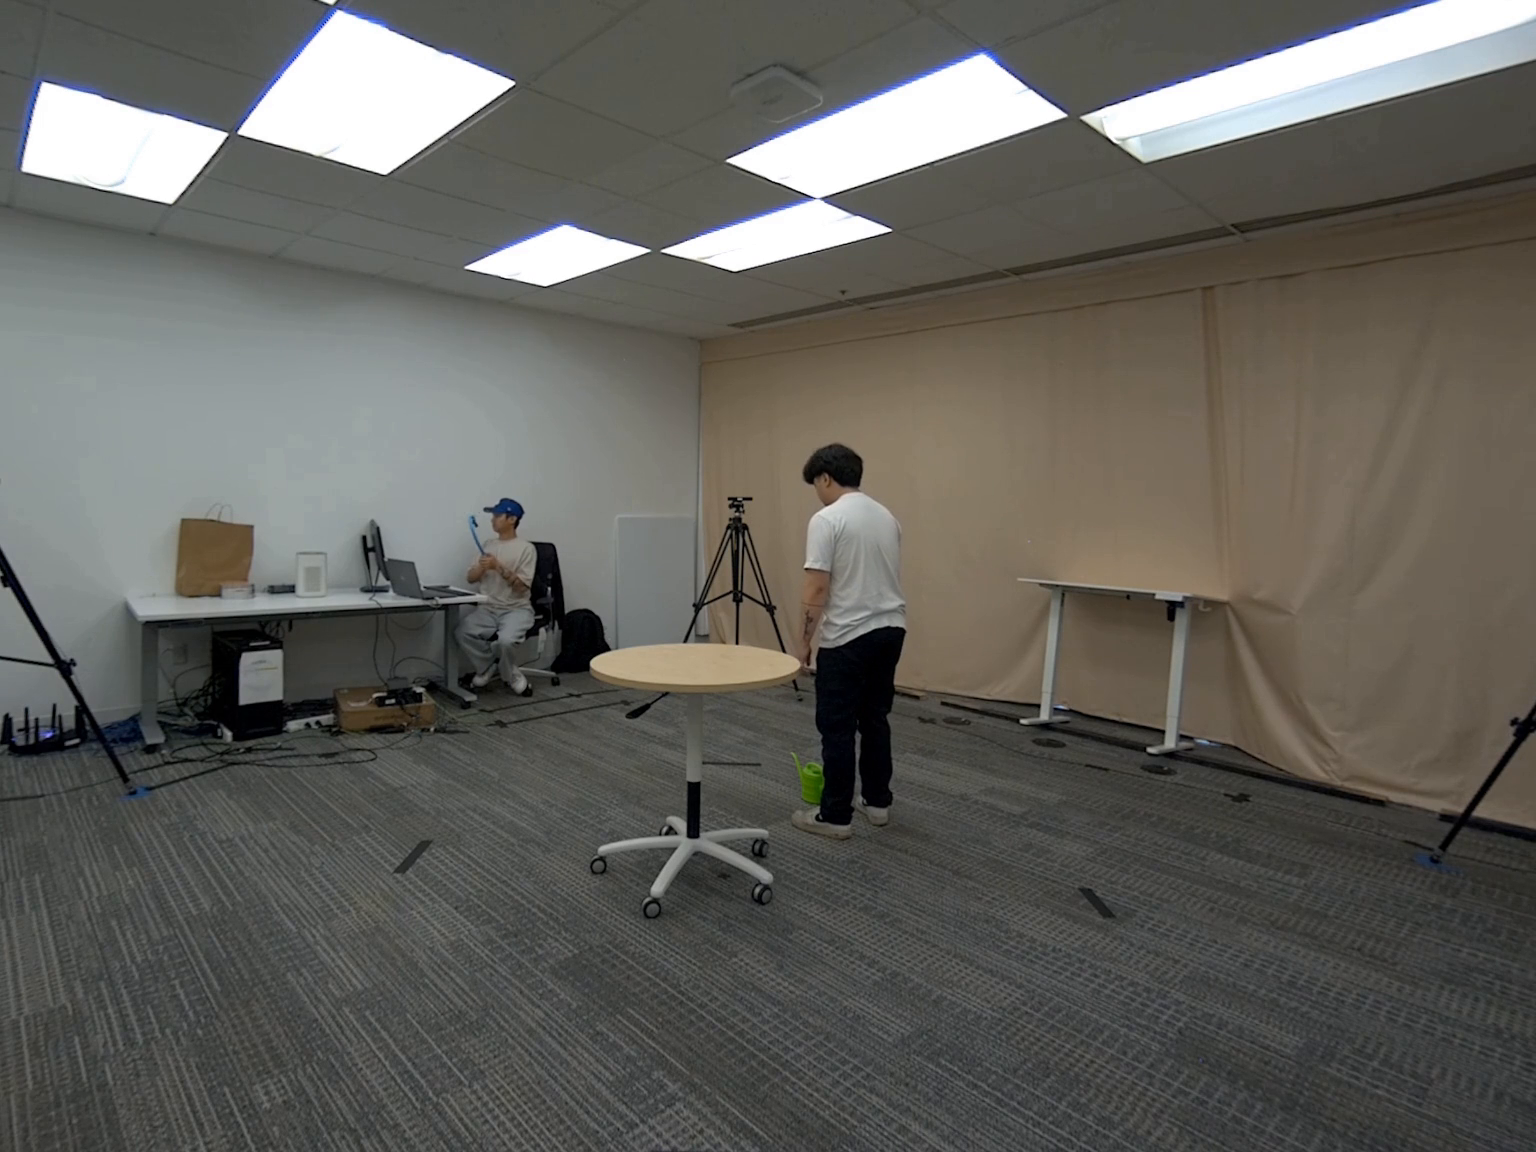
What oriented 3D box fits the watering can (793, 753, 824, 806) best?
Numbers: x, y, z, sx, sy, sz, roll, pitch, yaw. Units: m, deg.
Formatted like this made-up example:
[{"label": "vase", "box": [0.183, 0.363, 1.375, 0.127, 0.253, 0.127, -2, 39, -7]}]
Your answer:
[{"label": "watering can", "box": [0.189, 0.952, 3.978, 0.096, 0.176, 0.283, 2, 5, -18]}]
